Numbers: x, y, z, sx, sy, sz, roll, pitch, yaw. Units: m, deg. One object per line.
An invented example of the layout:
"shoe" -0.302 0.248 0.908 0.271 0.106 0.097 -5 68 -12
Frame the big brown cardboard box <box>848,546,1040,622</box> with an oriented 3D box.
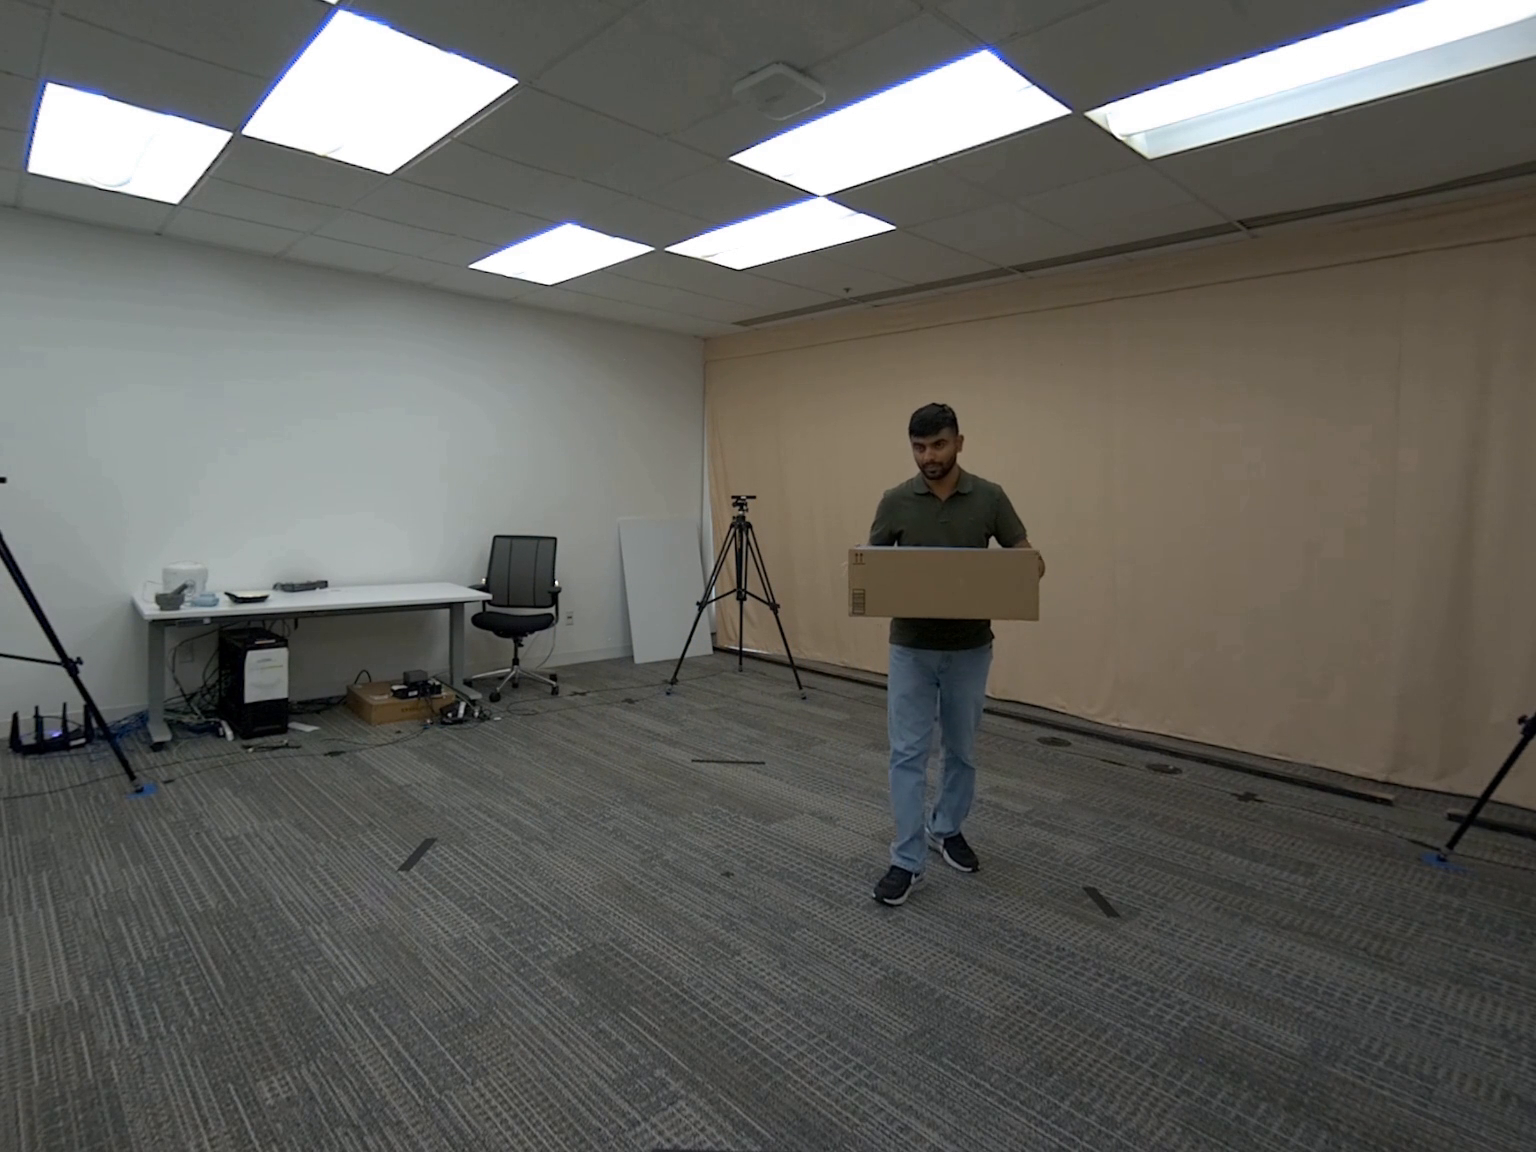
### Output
"big brown cardboard box" 0.561 0.023 2.766 0.595 0.233 0.413 2 0 13
